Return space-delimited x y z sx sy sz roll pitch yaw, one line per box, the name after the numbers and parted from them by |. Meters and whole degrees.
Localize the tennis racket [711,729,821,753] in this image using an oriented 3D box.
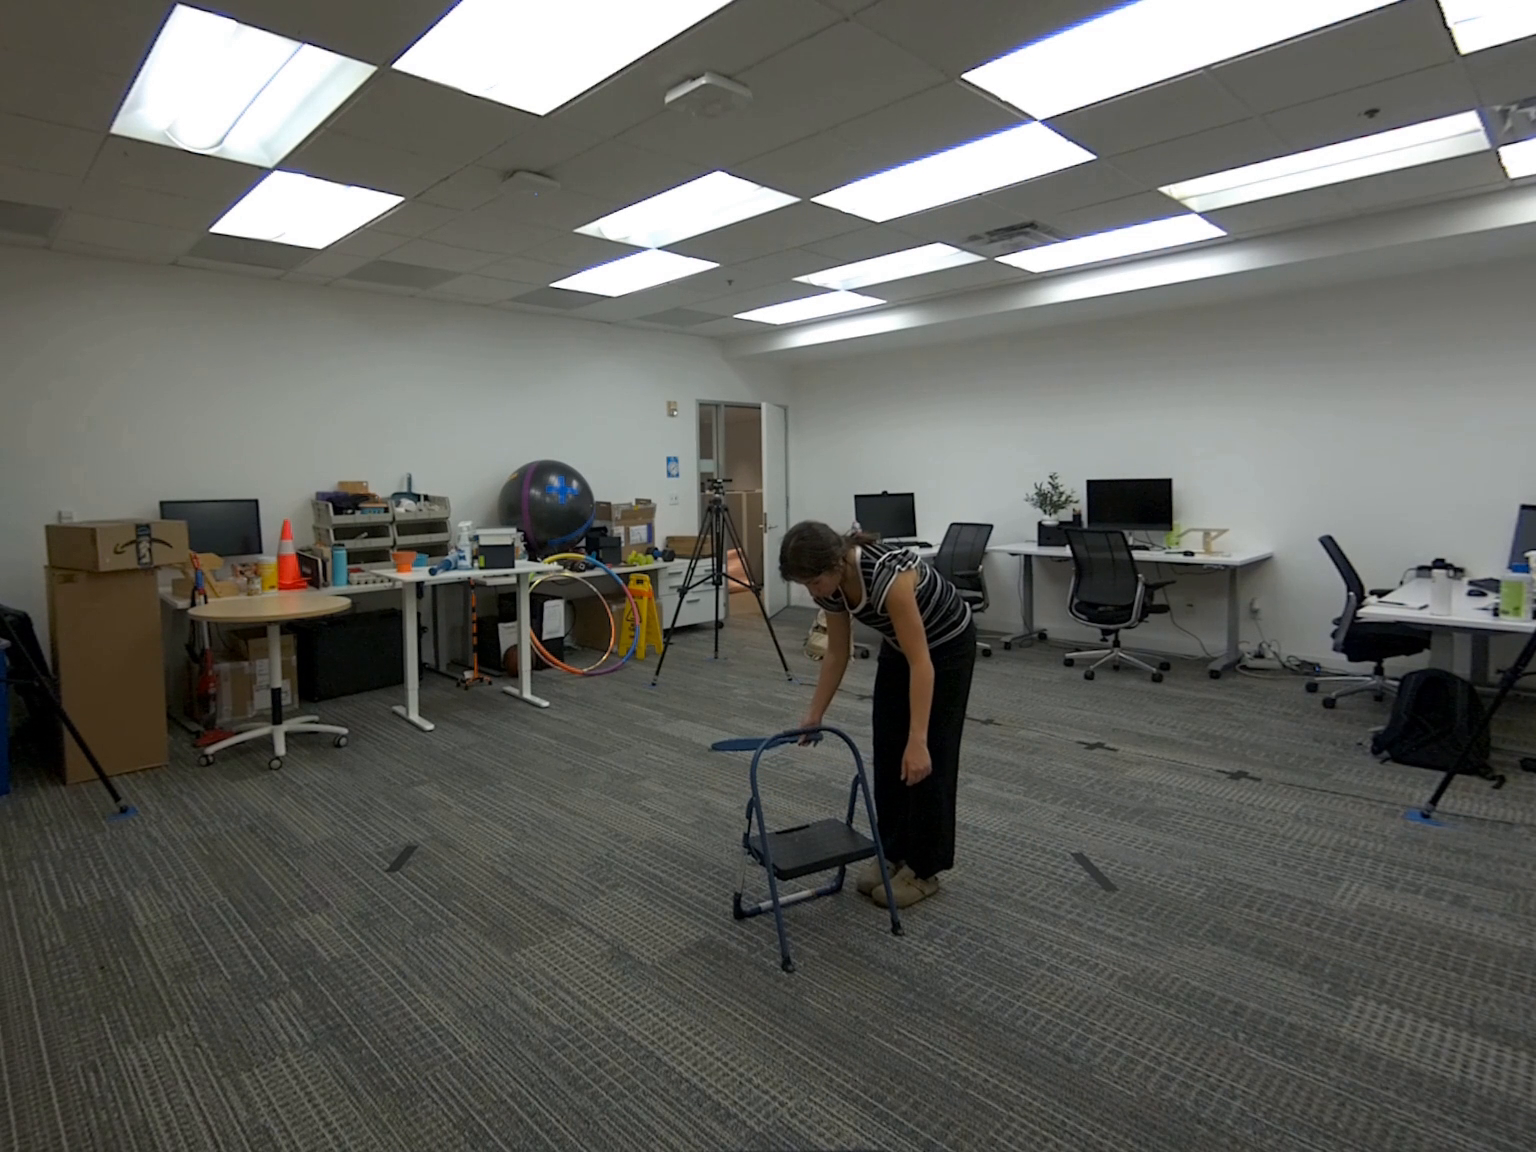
-0.012 0.605 3.084 0.440 0.032 0.206 -13 -23 25 | tennis racket
